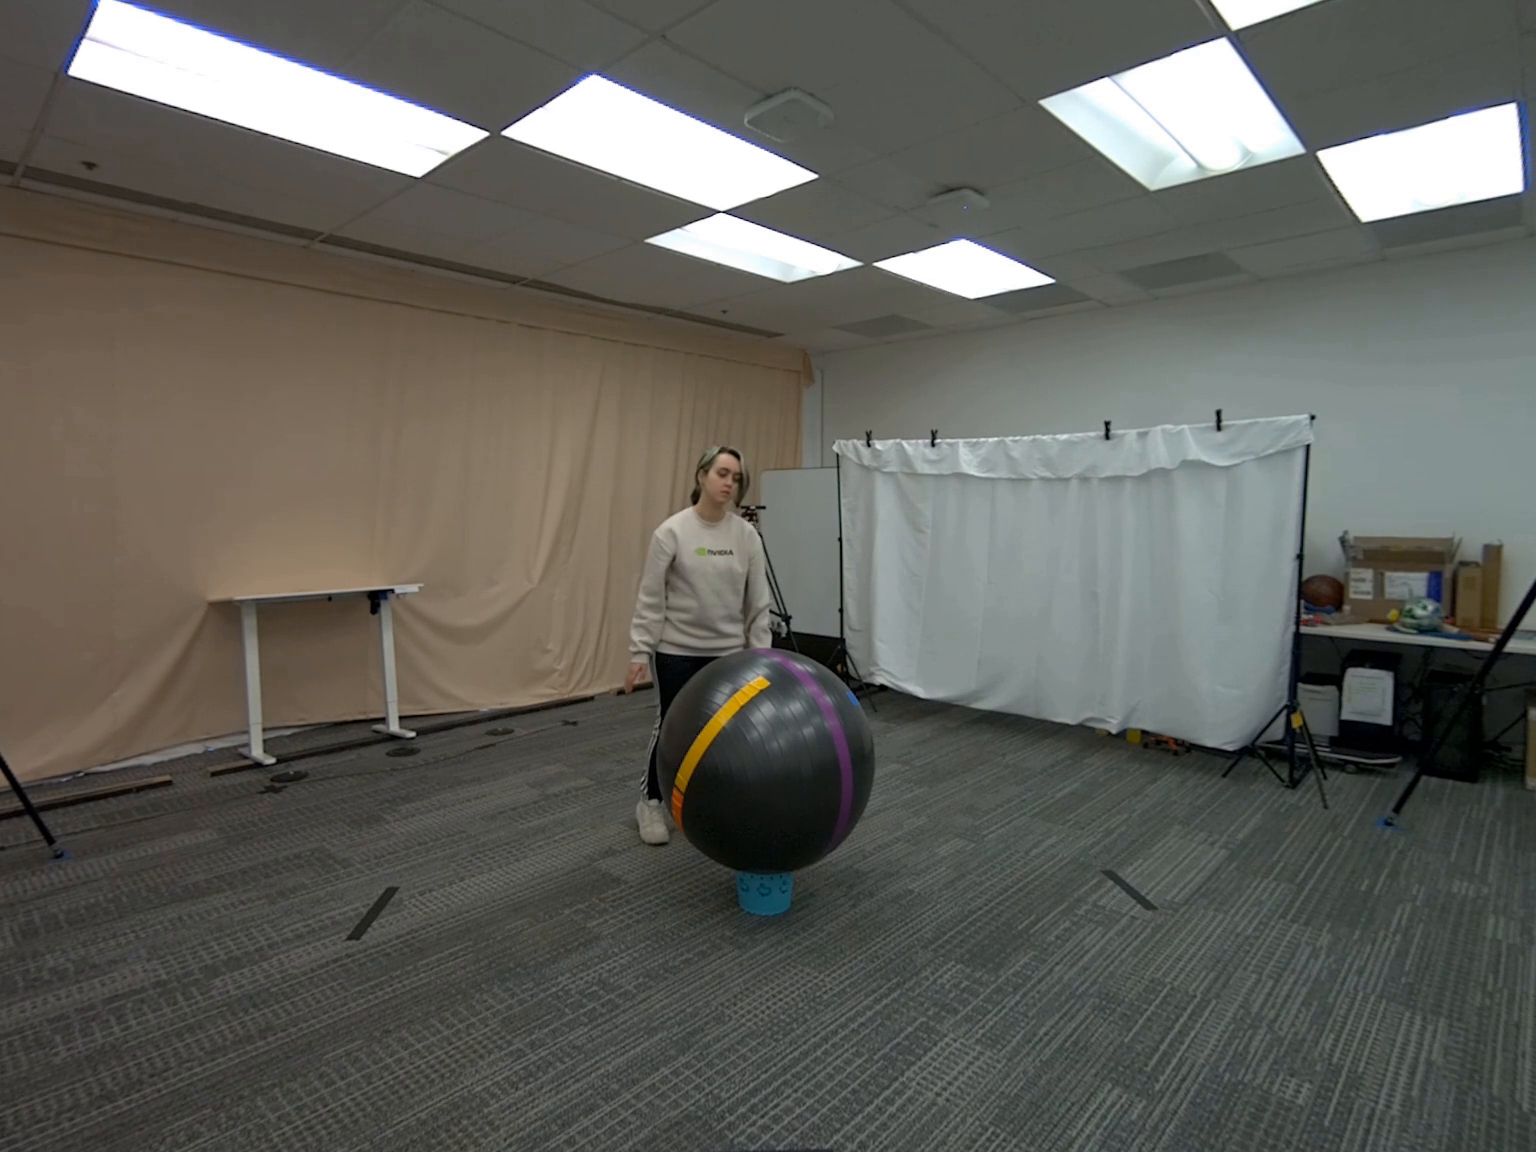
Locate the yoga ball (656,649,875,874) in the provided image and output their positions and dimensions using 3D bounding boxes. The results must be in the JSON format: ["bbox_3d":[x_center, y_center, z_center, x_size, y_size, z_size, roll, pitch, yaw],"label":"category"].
[{"bbox_3d":[-0.004,0.636,2.927,0.757,0.756,0.760,0,4,-2],"label":"yoga ball"}]
